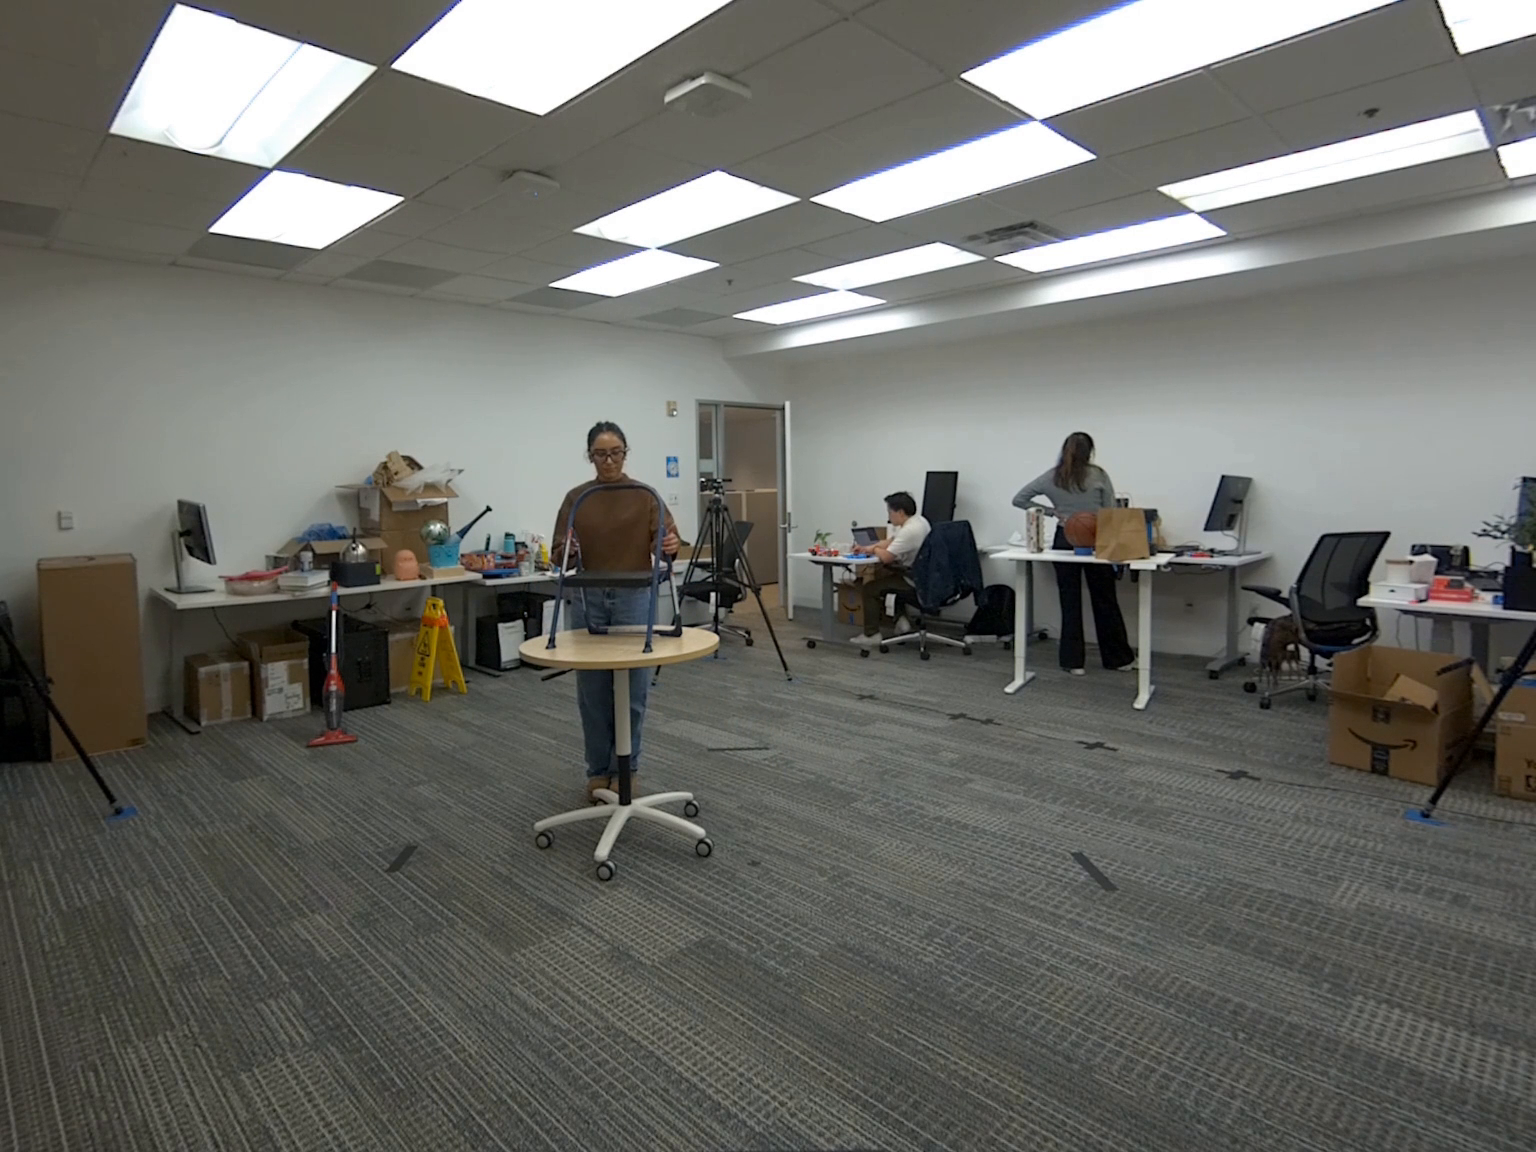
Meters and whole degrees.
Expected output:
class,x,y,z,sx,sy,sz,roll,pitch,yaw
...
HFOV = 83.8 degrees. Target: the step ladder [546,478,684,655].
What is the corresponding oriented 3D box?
class,x,y,z,sx,sy,sz,roll,pitch,yaw
step ladder,-0.594,-0.043,3.269,0.438,0.604,0.344,-1,4,18
